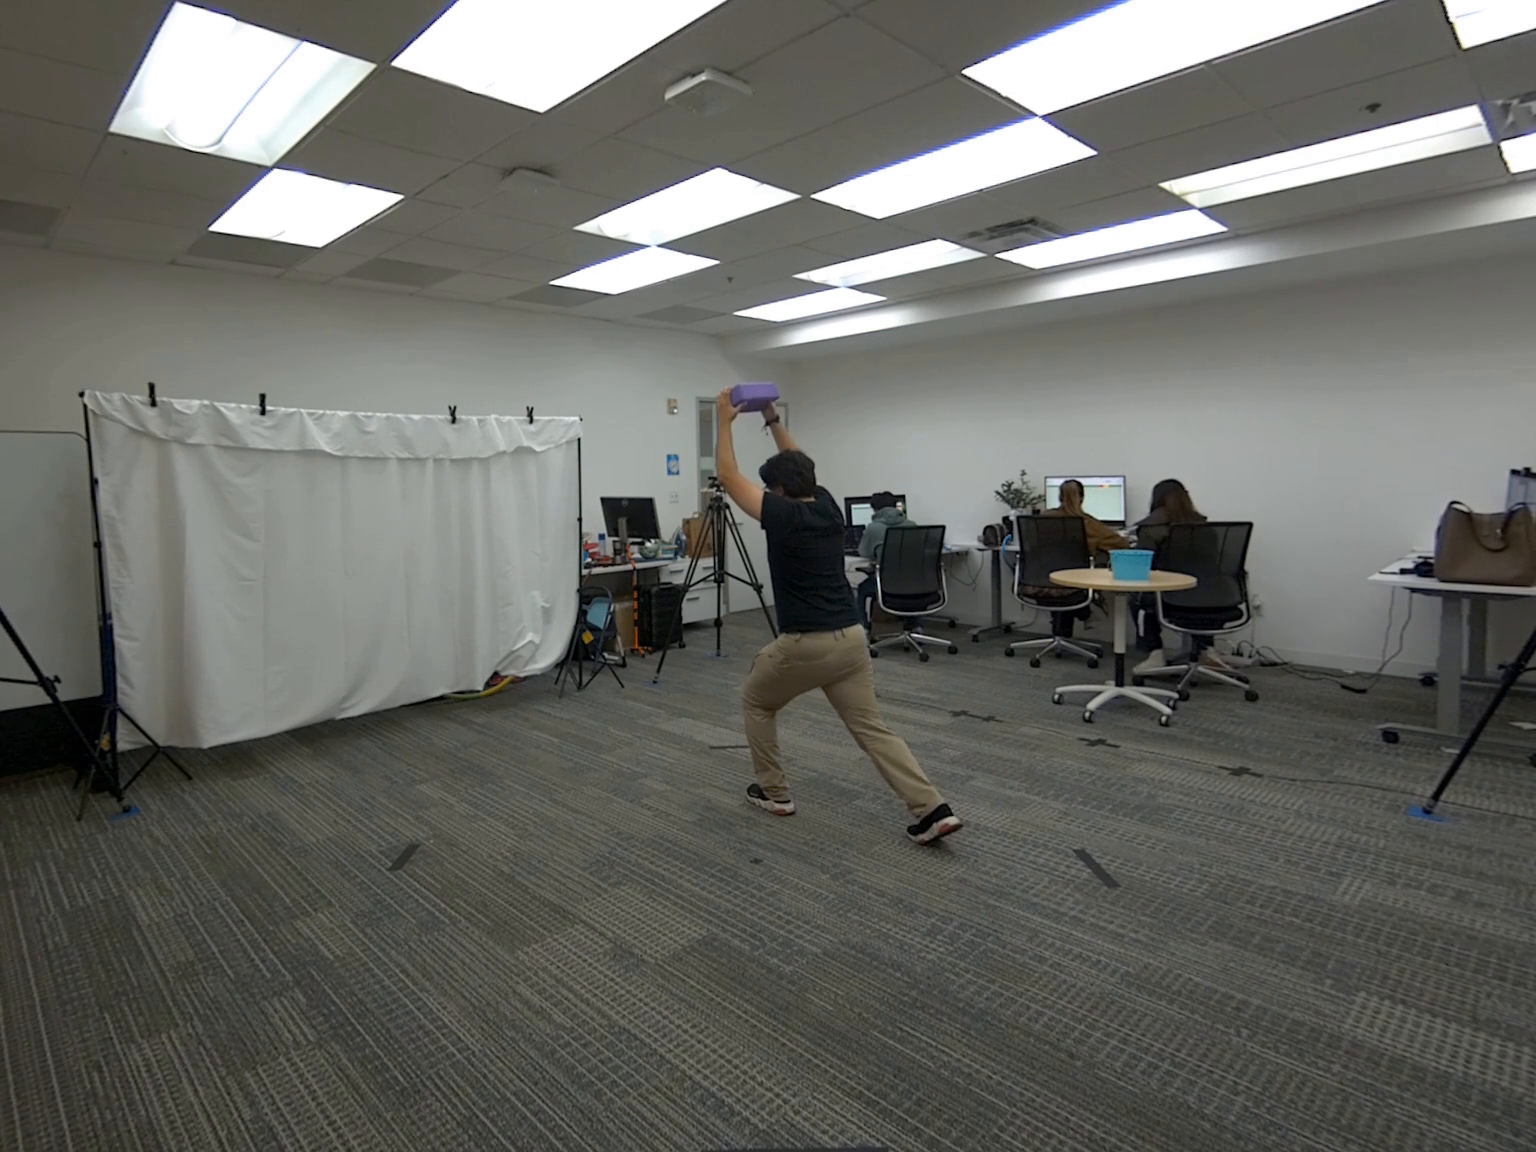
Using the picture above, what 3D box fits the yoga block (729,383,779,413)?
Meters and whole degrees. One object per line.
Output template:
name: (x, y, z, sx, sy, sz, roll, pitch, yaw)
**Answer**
yoga block: (-0.081, -0.754, 3.586, 0.224, 0.077, 0.151, -17, -4, -45)
